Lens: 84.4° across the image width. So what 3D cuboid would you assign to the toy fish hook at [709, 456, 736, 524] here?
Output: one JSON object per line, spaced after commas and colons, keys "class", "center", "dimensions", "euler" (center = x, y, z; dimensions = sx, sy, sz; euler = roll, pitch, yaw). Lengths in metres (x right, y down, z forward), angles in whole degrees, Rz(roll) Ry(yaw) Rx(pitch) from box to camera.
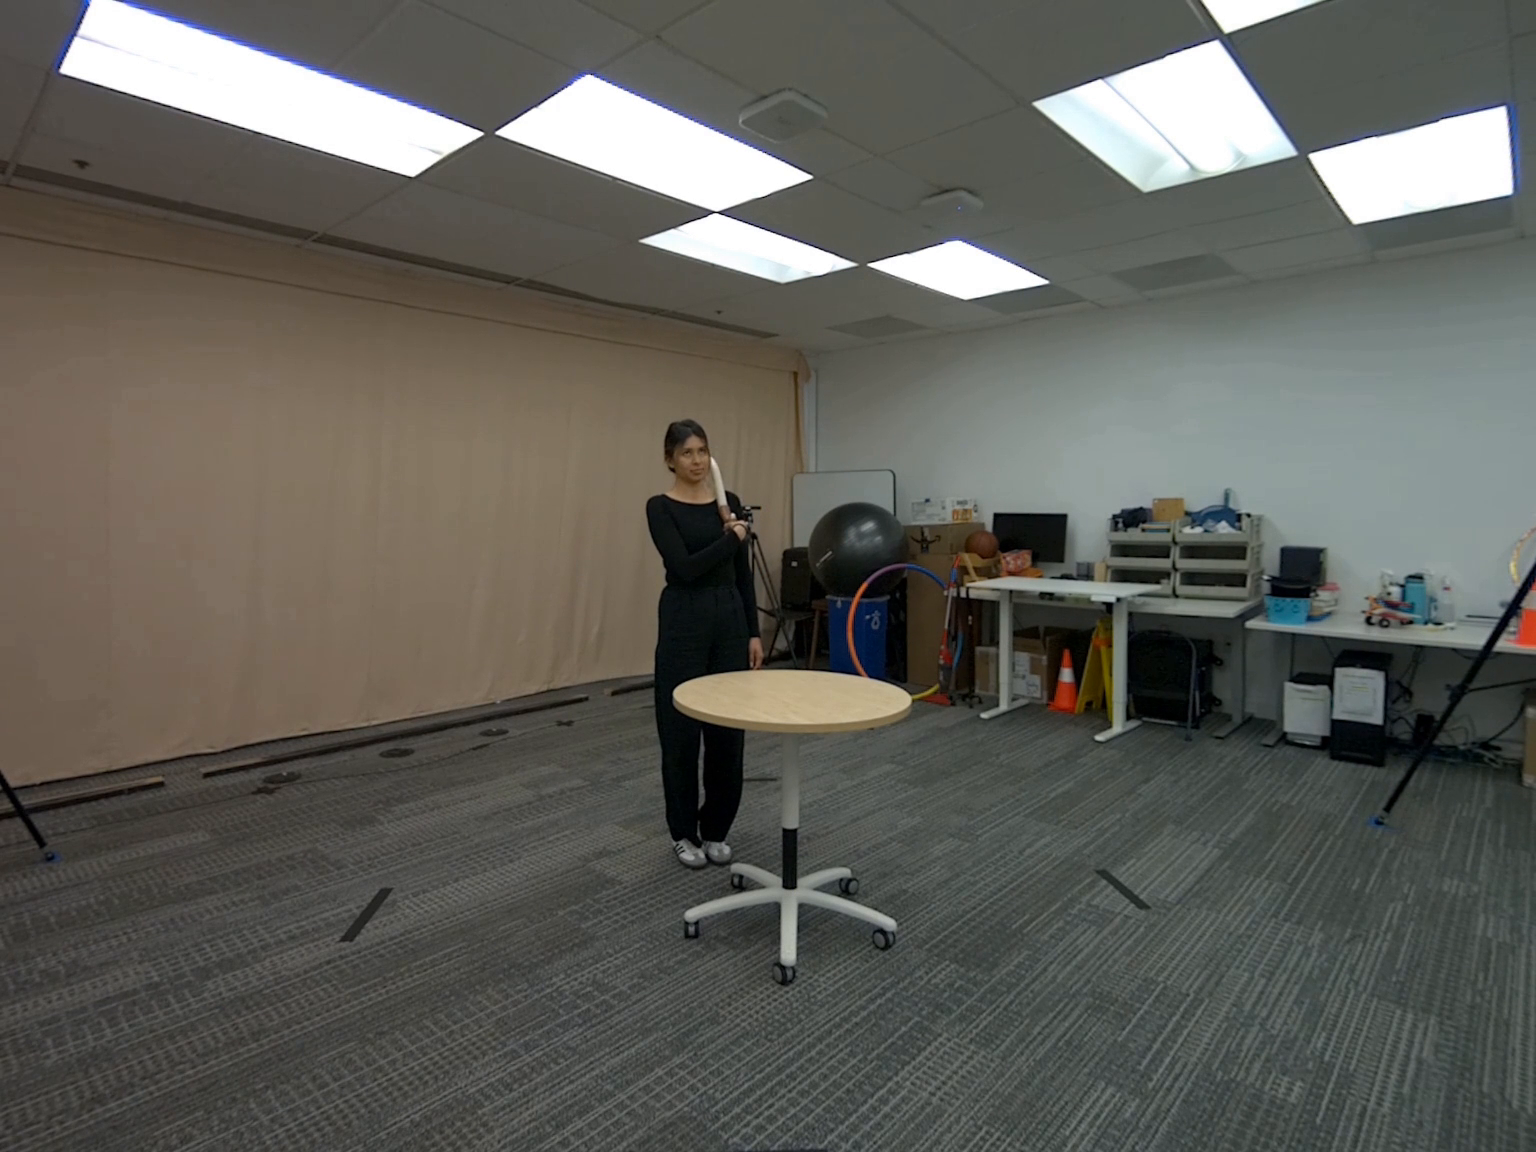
{"class": "toy fish hook", "center": [-0.204, -0.279, 3.375], "dimensions": [0.047, 0.223, 0.521], "euler": [-2, 47, -23]}
